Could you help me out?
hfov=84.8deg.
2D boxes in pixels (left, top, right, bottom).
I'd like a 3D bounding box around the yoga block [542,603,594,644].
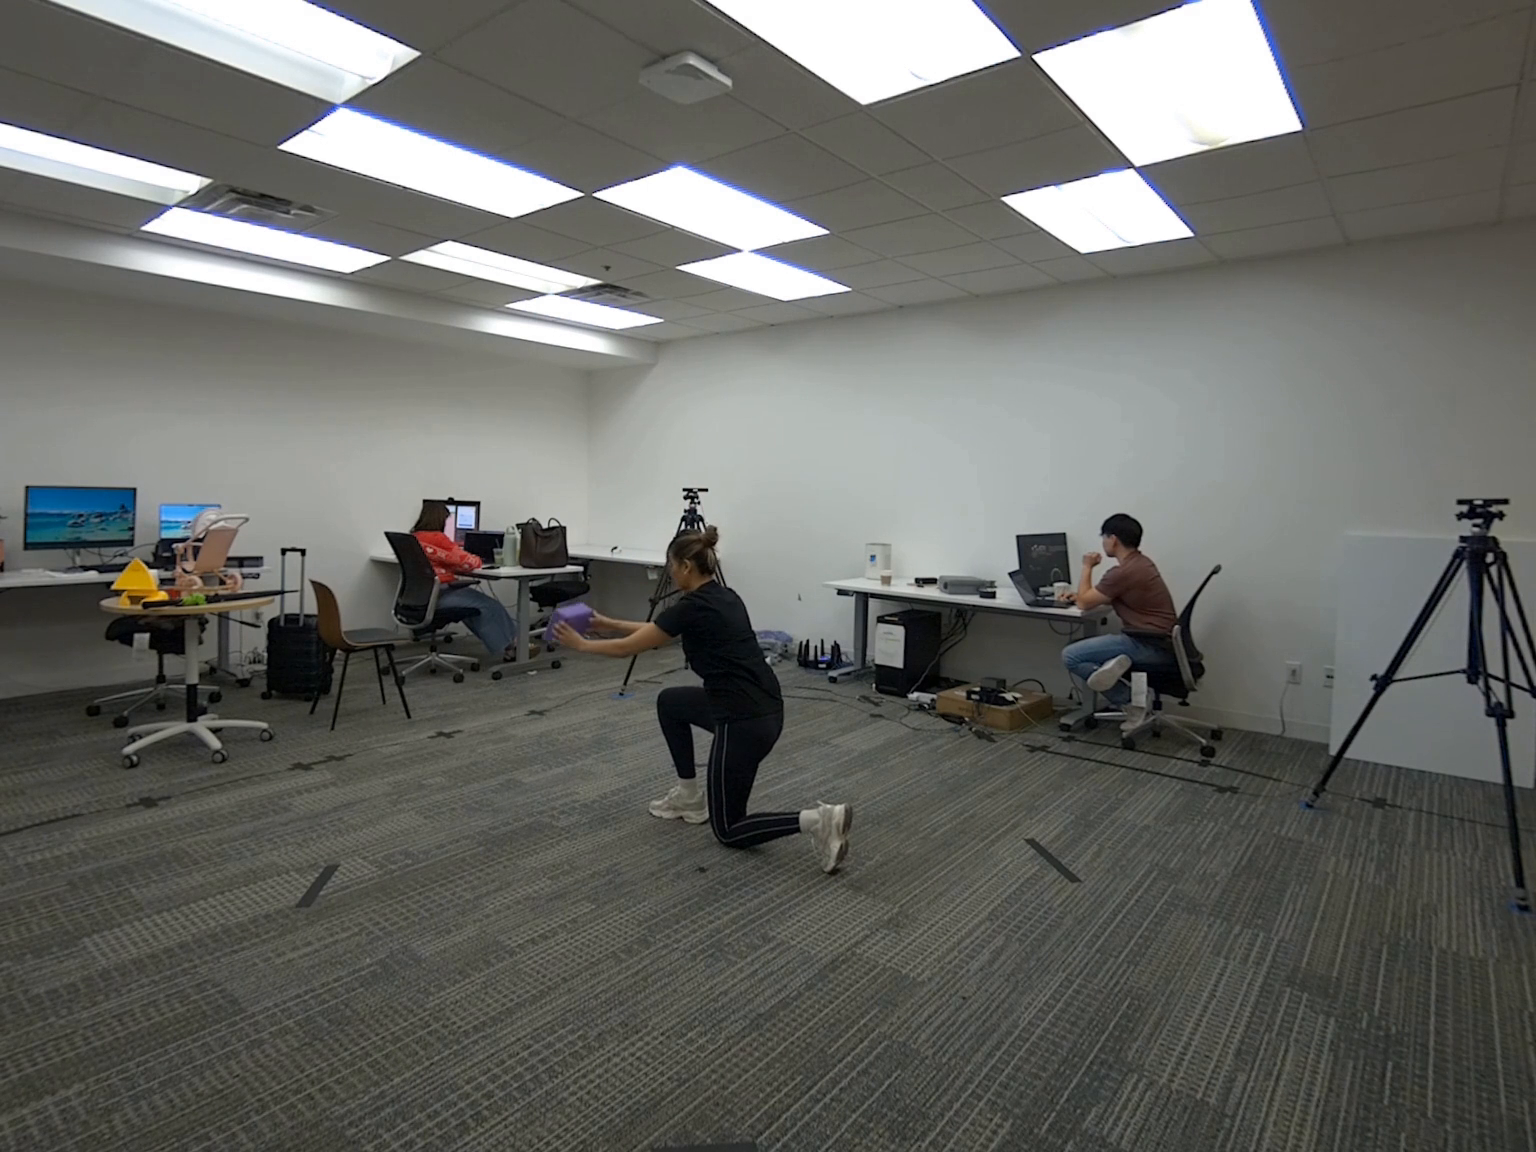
[{"bbox_3d":[-0.850,0.169,3.678,0.078,0.148,0.225,40,16,12],"label":"yoga block"}]
